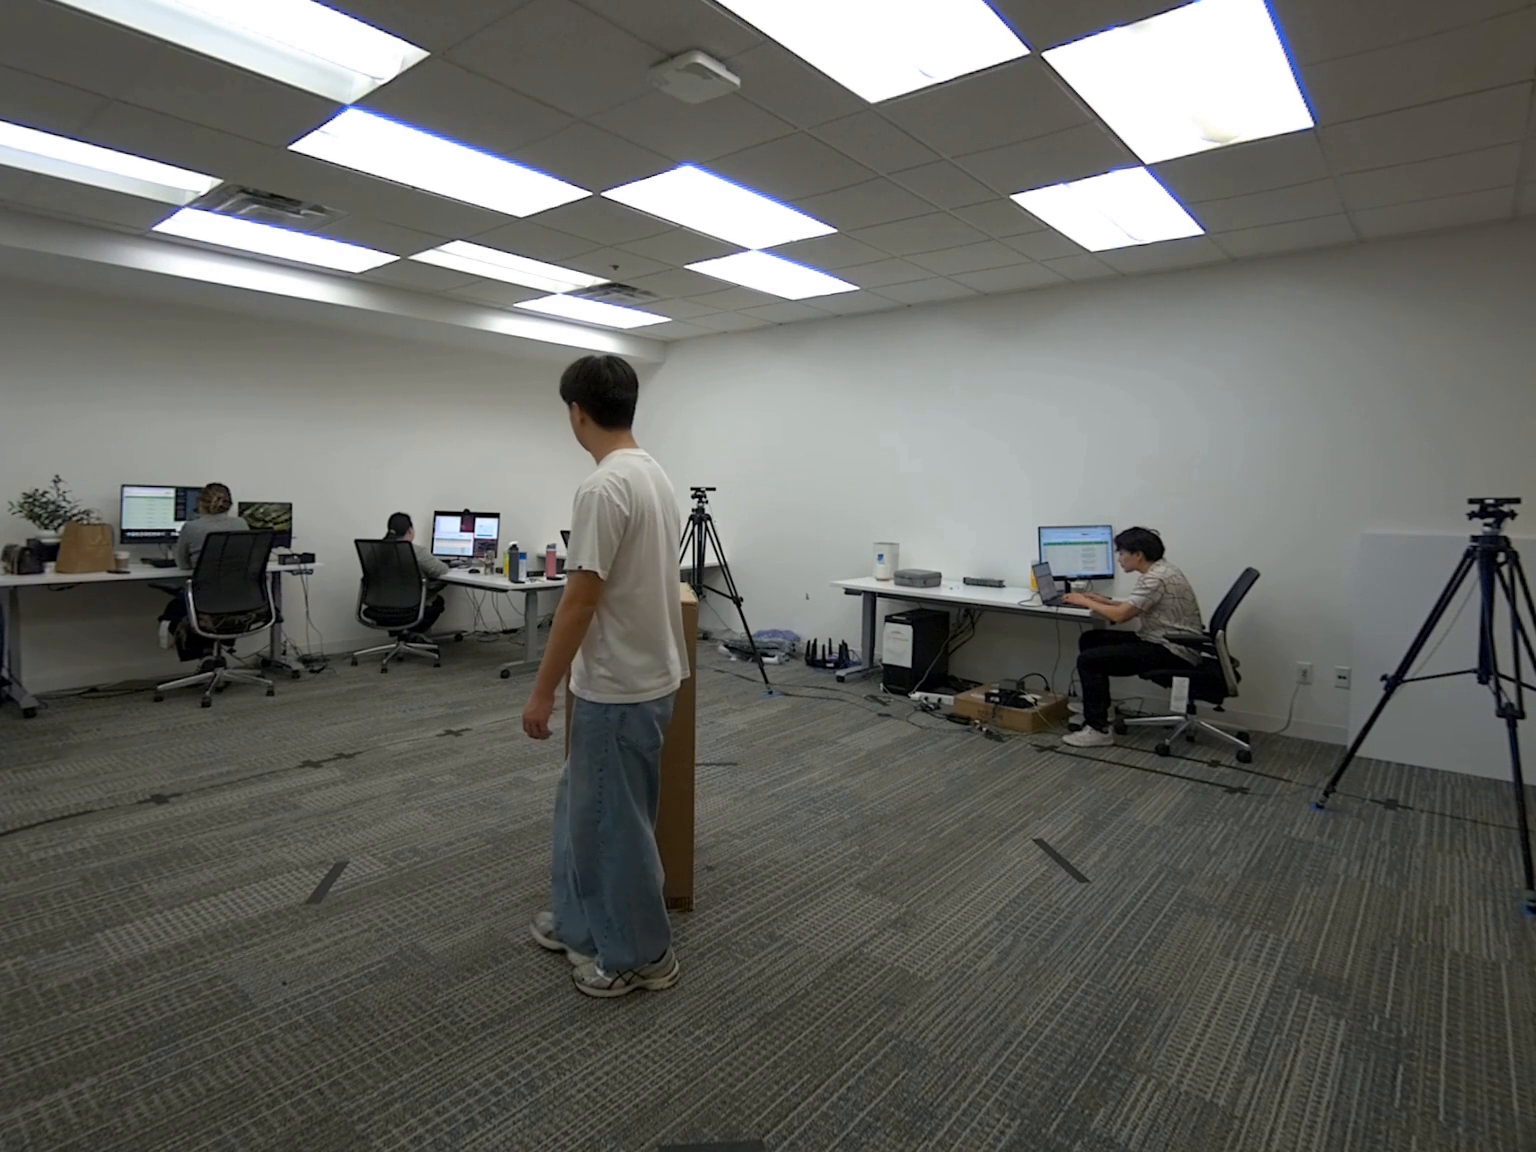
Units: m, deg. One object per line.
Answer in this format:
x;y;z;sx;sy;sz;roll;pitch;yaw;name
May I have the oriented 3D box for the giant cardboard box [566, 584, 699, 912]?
-0.495;0.559;3.023;0.423;1.023;0.584;1;3;-8;giant cardboard box
